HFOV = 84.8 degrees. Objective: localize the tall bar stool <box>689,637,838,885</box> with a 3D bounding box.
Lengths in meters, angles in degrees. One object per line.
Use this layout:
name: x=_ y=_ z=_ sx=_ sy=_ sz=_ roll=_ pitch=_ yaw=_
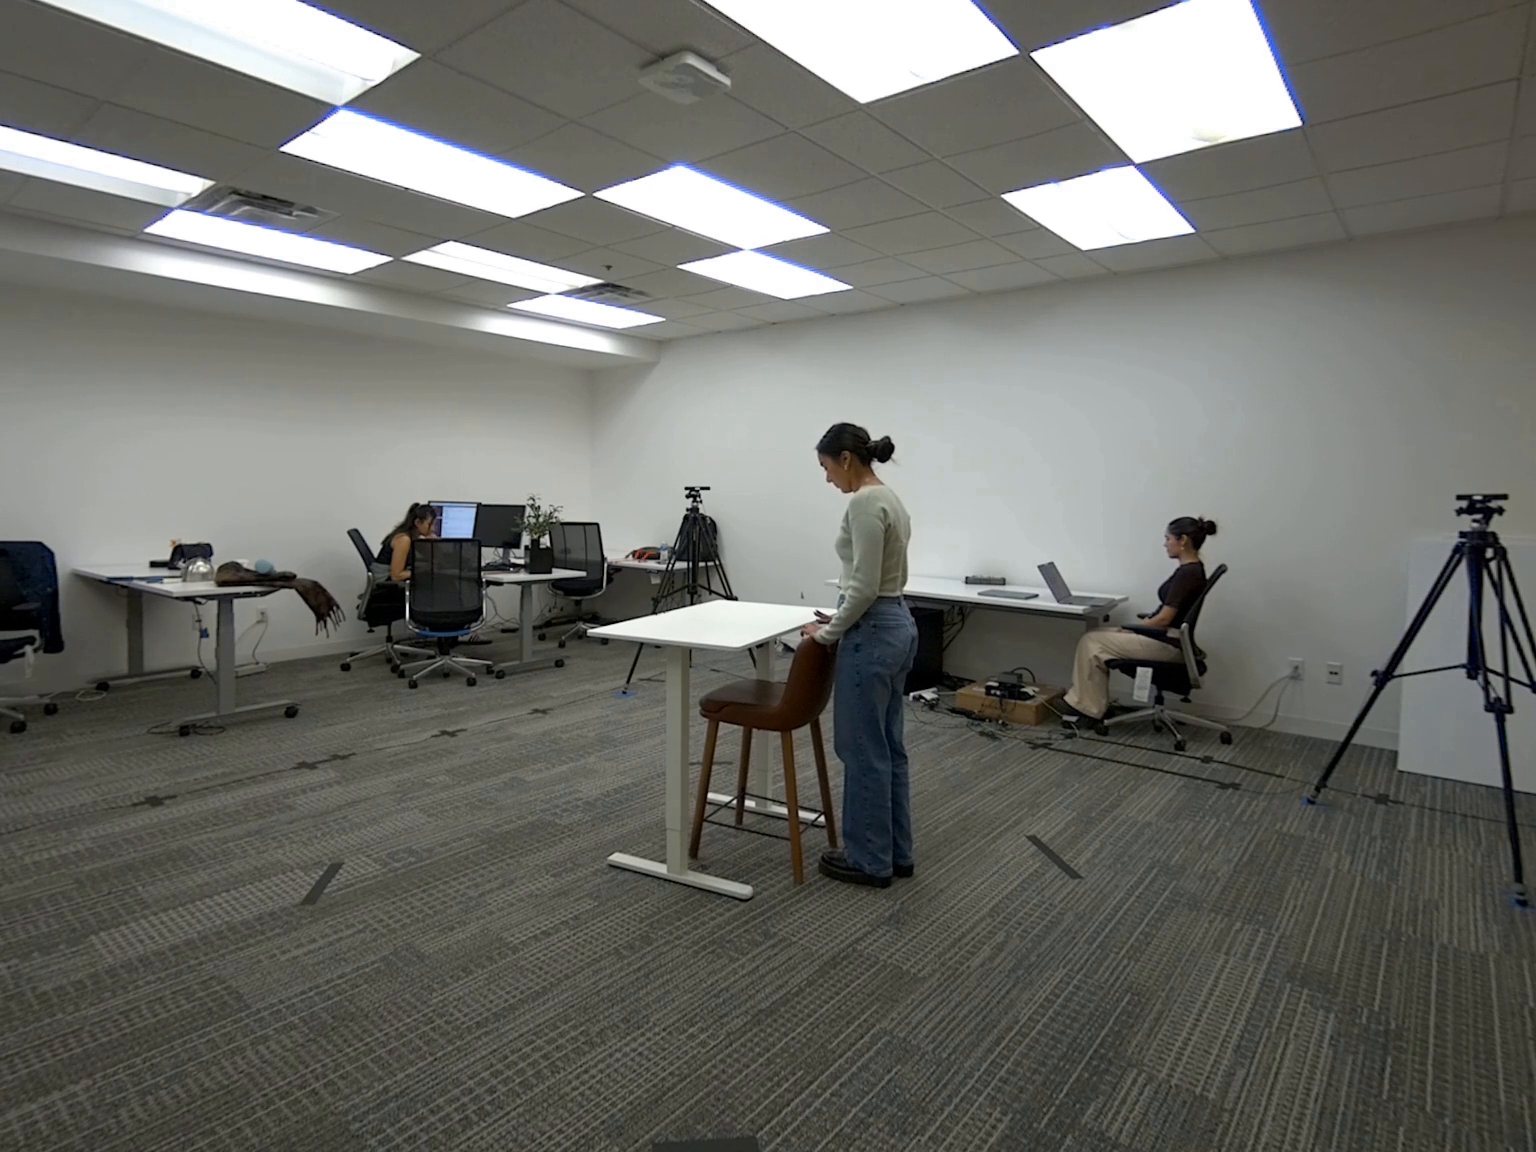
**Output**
tall bar stool: x=0.001 y=0.622 z=3.234 sx=0.481 sy=0.887 sz=0.445 roll=5 pitch=4 yaw=26
